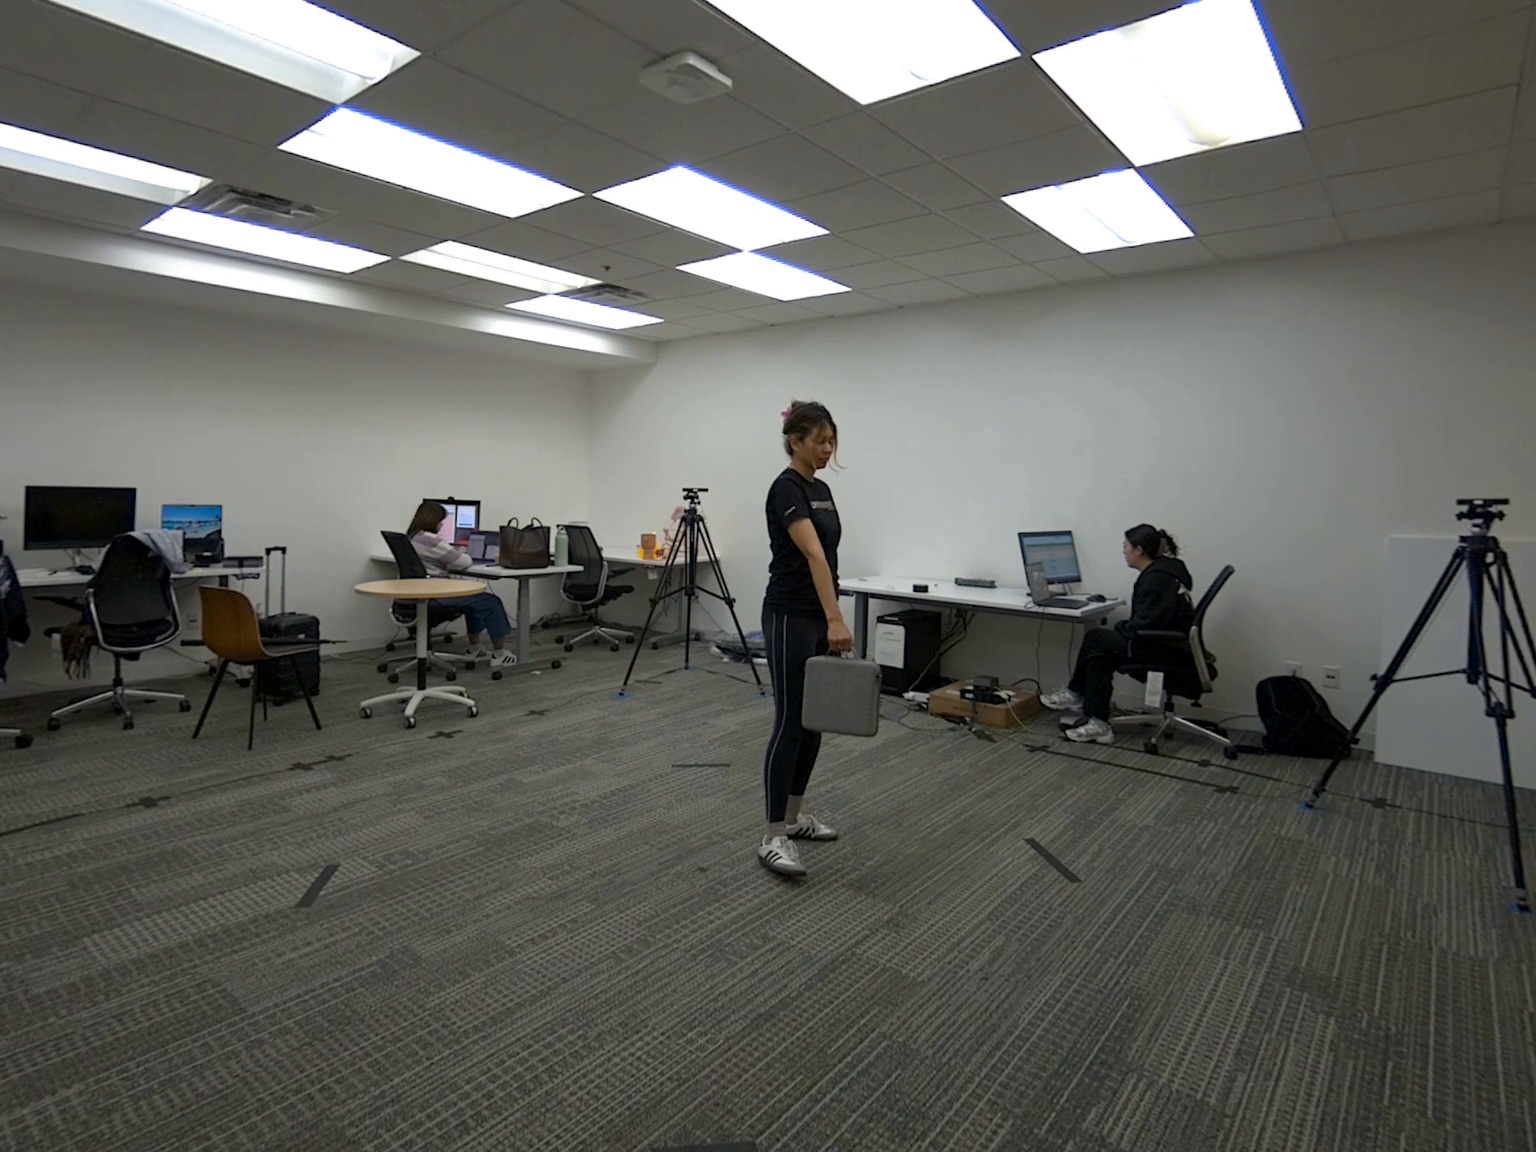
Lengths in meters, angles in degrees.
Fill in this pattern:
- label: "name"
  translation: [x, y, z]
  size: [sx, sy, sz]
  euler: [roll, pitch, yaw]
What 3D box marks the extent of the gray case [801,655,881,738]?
- label: "gray case"
  translation: [0.251, 0.402, 2.912]
  size: [0.263, 0.262, 0.101]
  euler: [1, -5, 24]
